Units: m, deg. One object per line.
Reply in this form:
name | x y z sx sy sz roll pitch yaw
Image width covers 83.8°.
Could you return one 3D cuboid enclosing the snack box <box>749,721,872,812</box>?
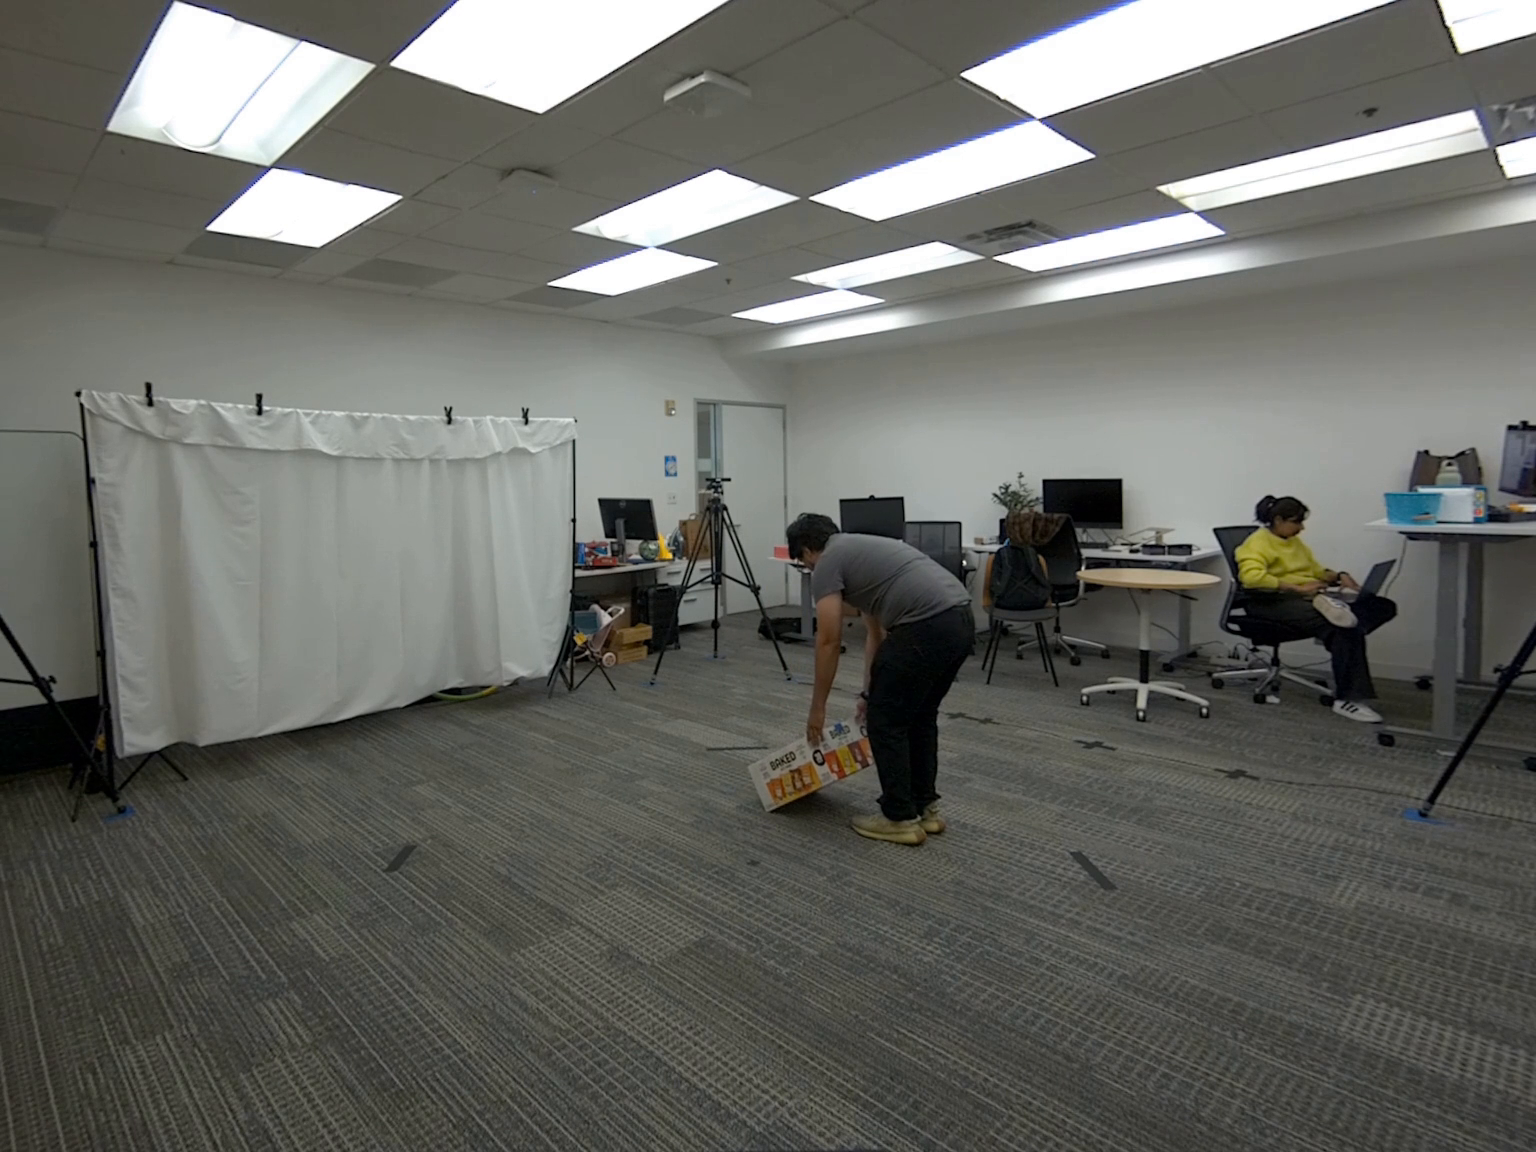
snack box | 0.194 0.794 3.604 0.331 0.210 0.407 -5 -25 -49
